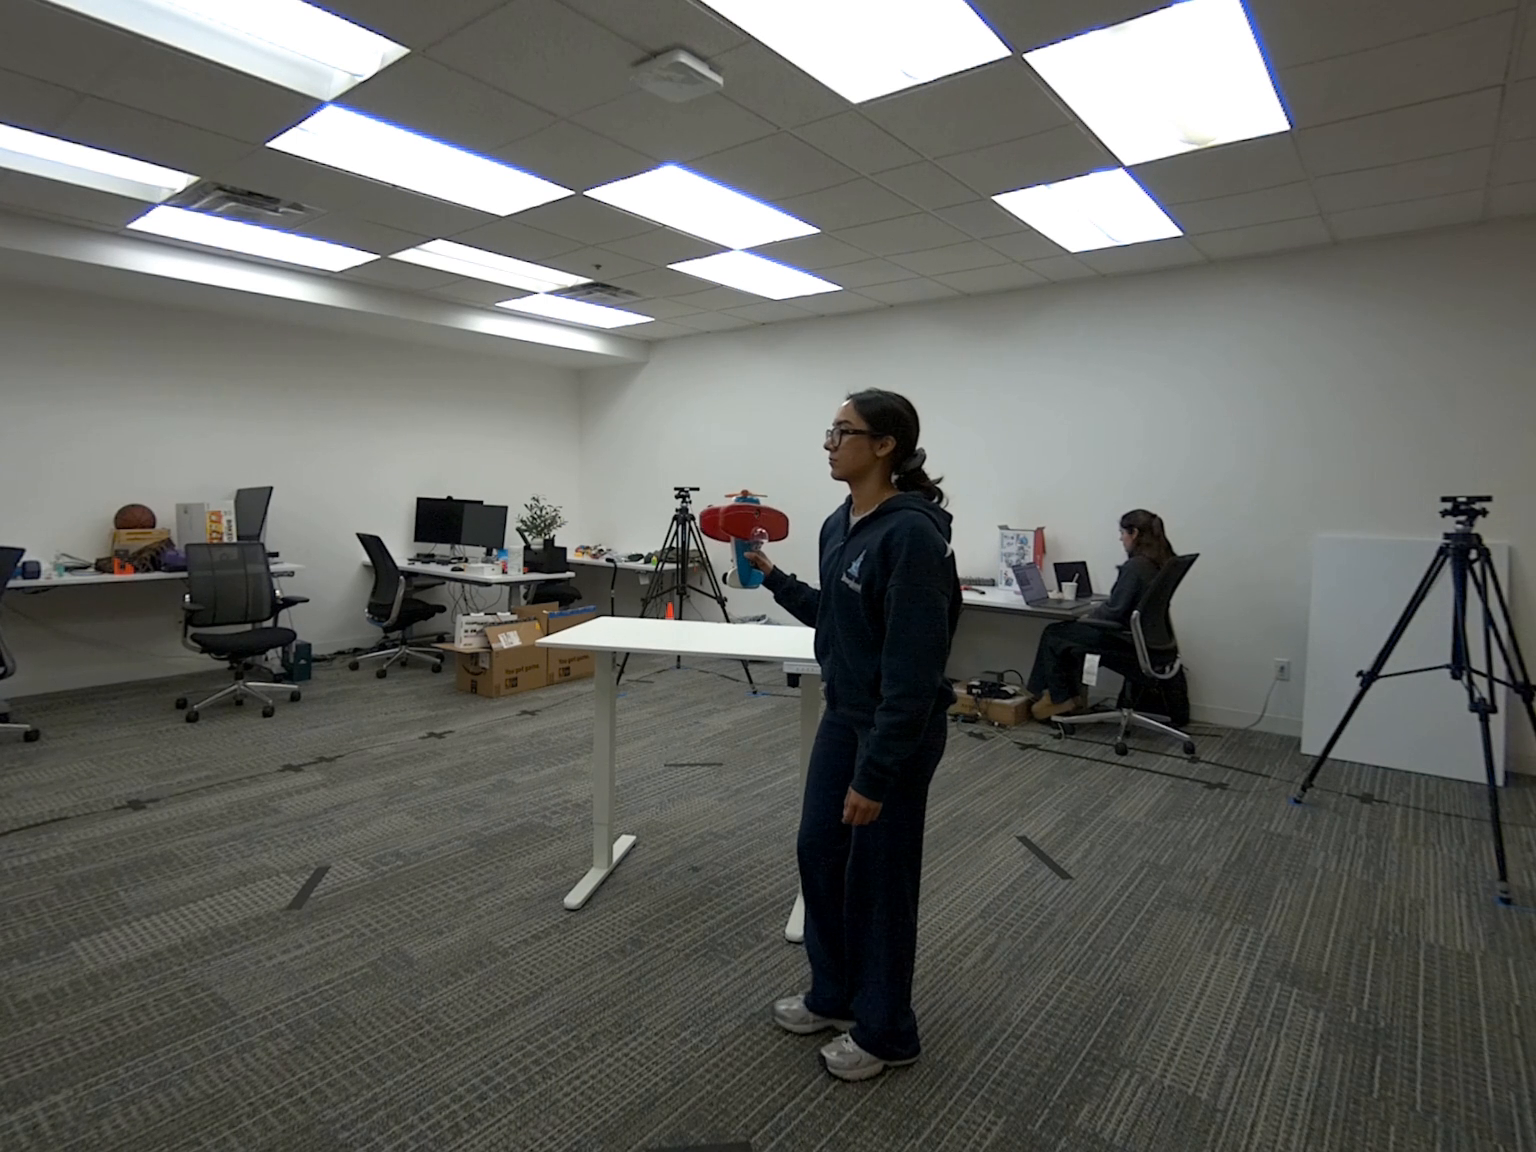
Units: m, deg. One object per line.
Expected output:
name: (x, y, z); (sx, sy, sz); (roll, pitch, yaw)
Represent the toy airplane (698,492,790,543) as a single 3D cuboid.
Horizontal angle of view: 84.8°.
toy airplane: (-0.064, -0.103, 2.303); (0.159, 0.258, 0.248); (-24, 7, 42)
